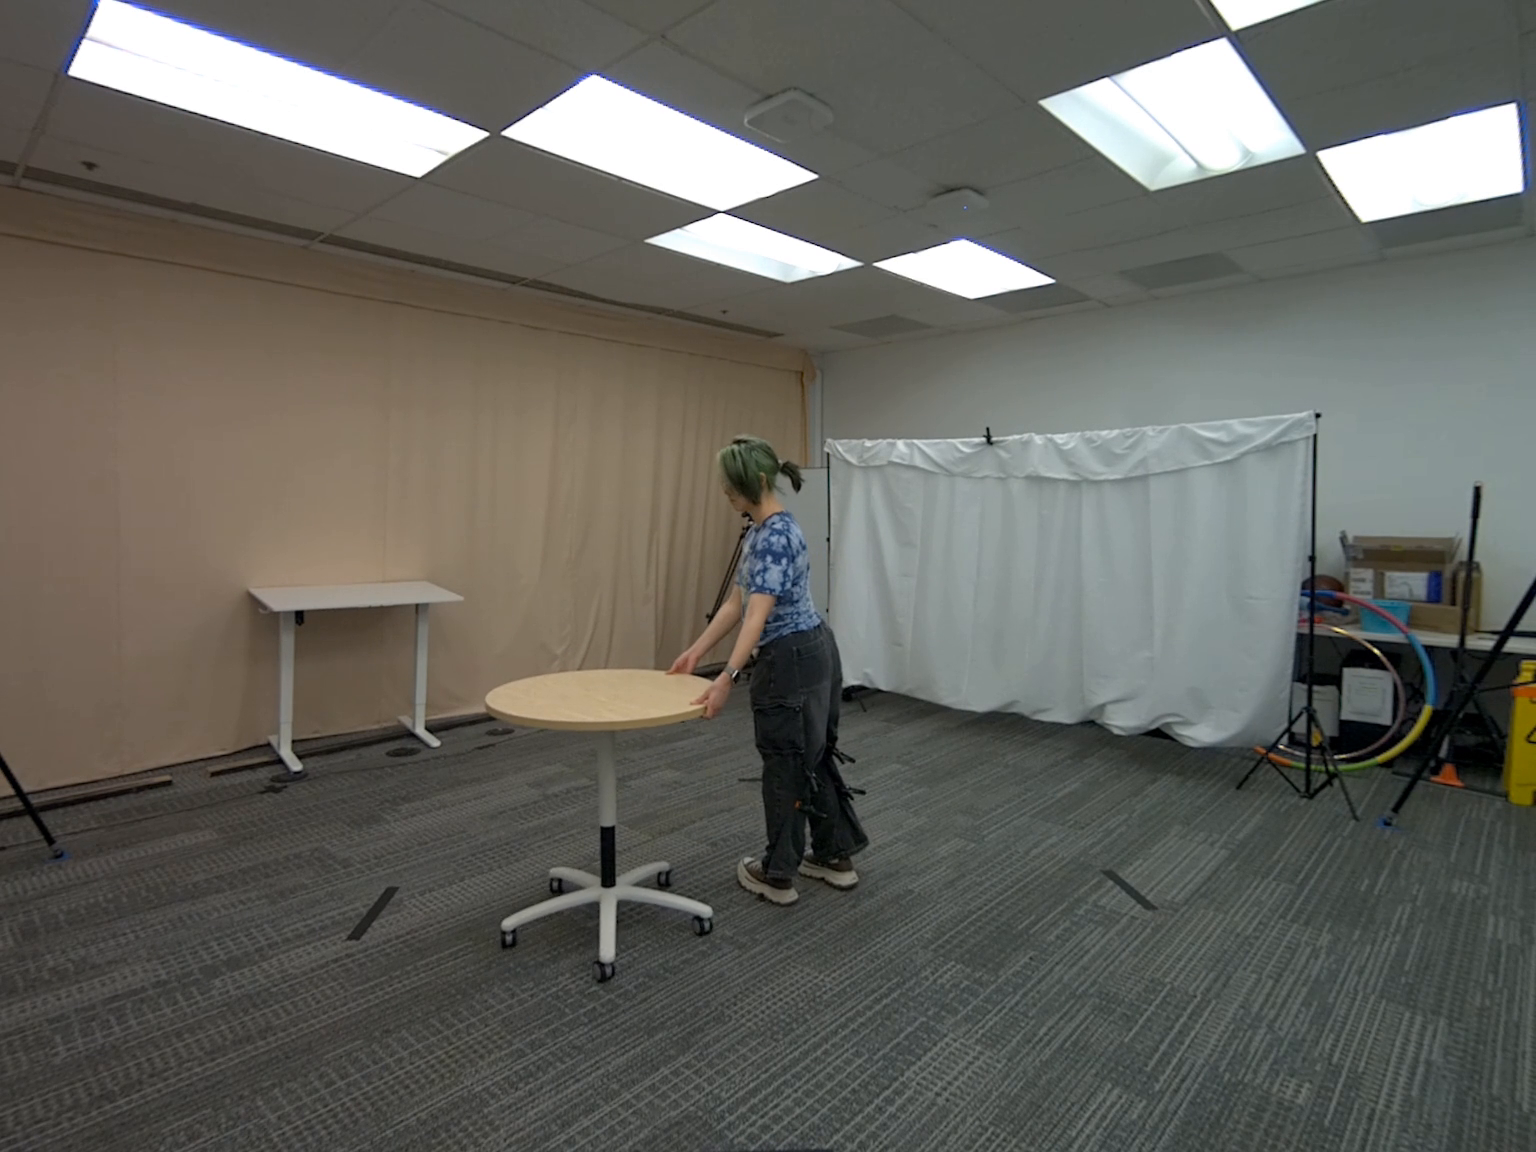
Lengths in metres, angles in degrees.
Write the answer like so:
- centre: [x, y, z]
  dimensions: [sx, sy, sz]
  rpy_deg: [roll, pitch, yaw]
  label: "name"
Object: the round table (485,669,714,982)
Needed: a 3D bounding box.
- centre: [-0.523, 0.774, 2.776]
  dimensions: [0.763, 0.792, 0.767]
  rpy_deg: [0, 4, -2]
  label: "round table"
